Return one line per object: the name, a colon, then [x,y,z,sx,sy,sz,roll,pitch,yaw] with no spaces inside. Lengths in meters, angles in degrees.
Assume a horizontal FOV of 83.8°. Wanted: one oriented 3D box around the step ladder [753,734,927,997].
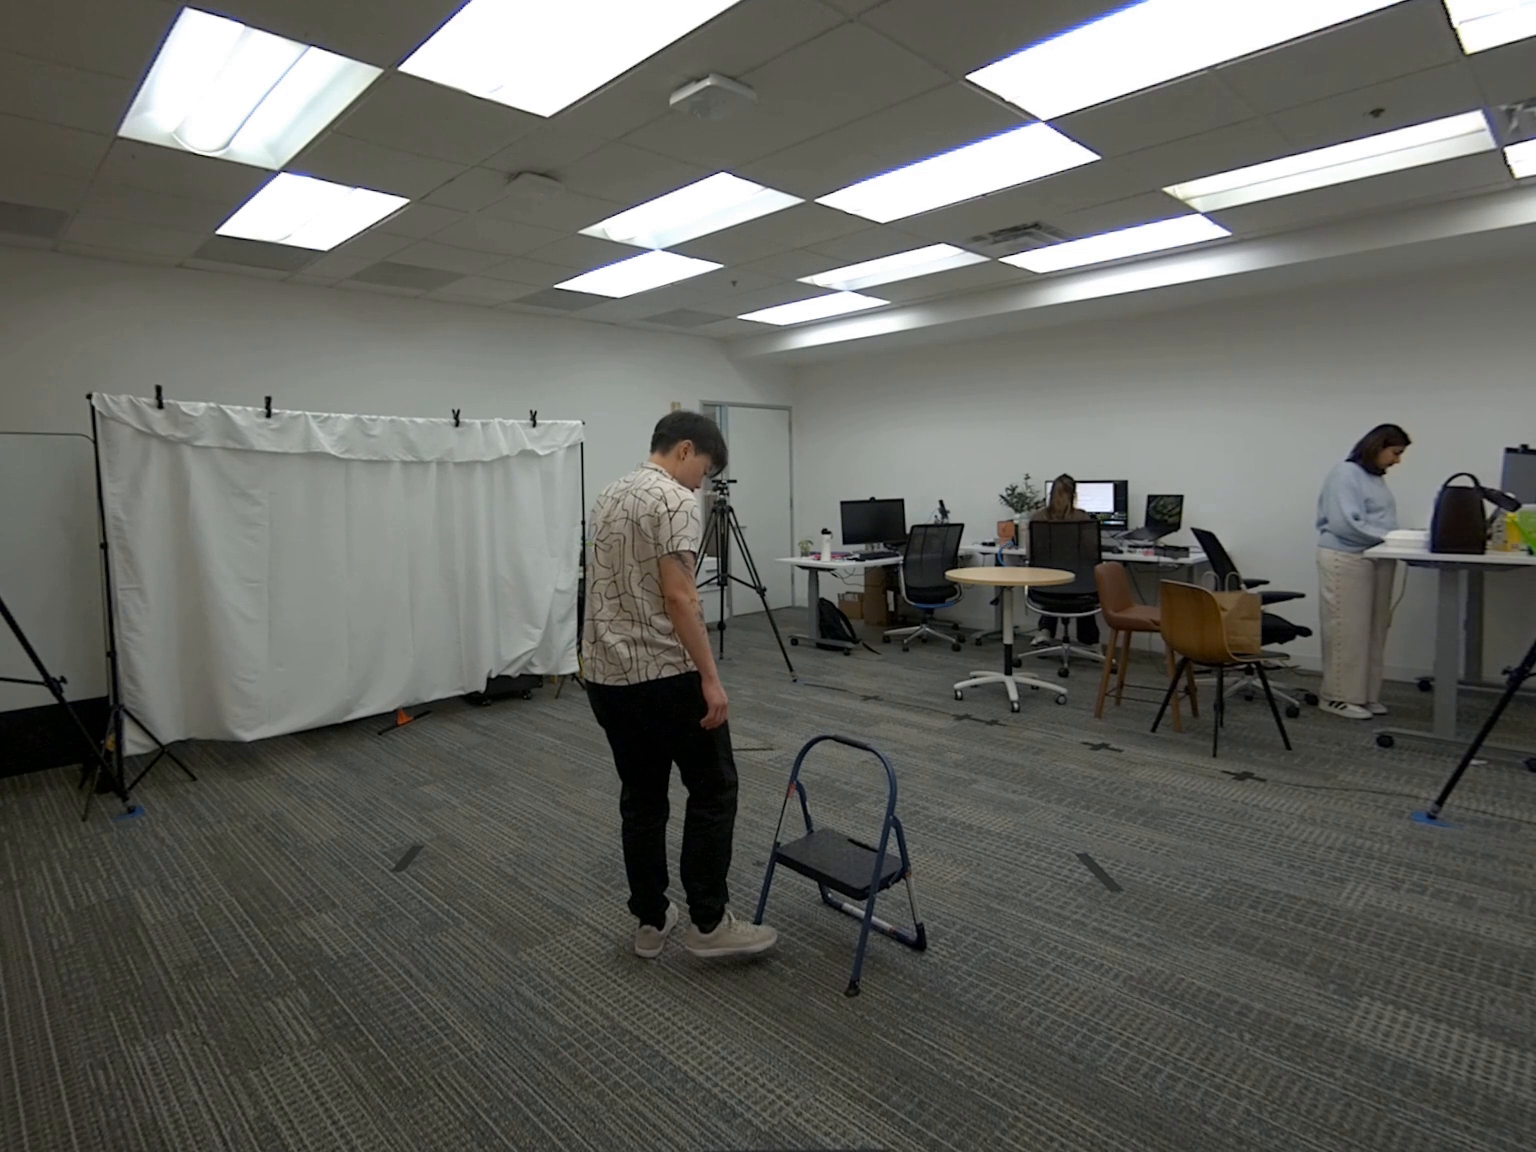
step ladder: [0.209,0.805,2.553,0.340,0.603,0.444,-5,7,-42]
